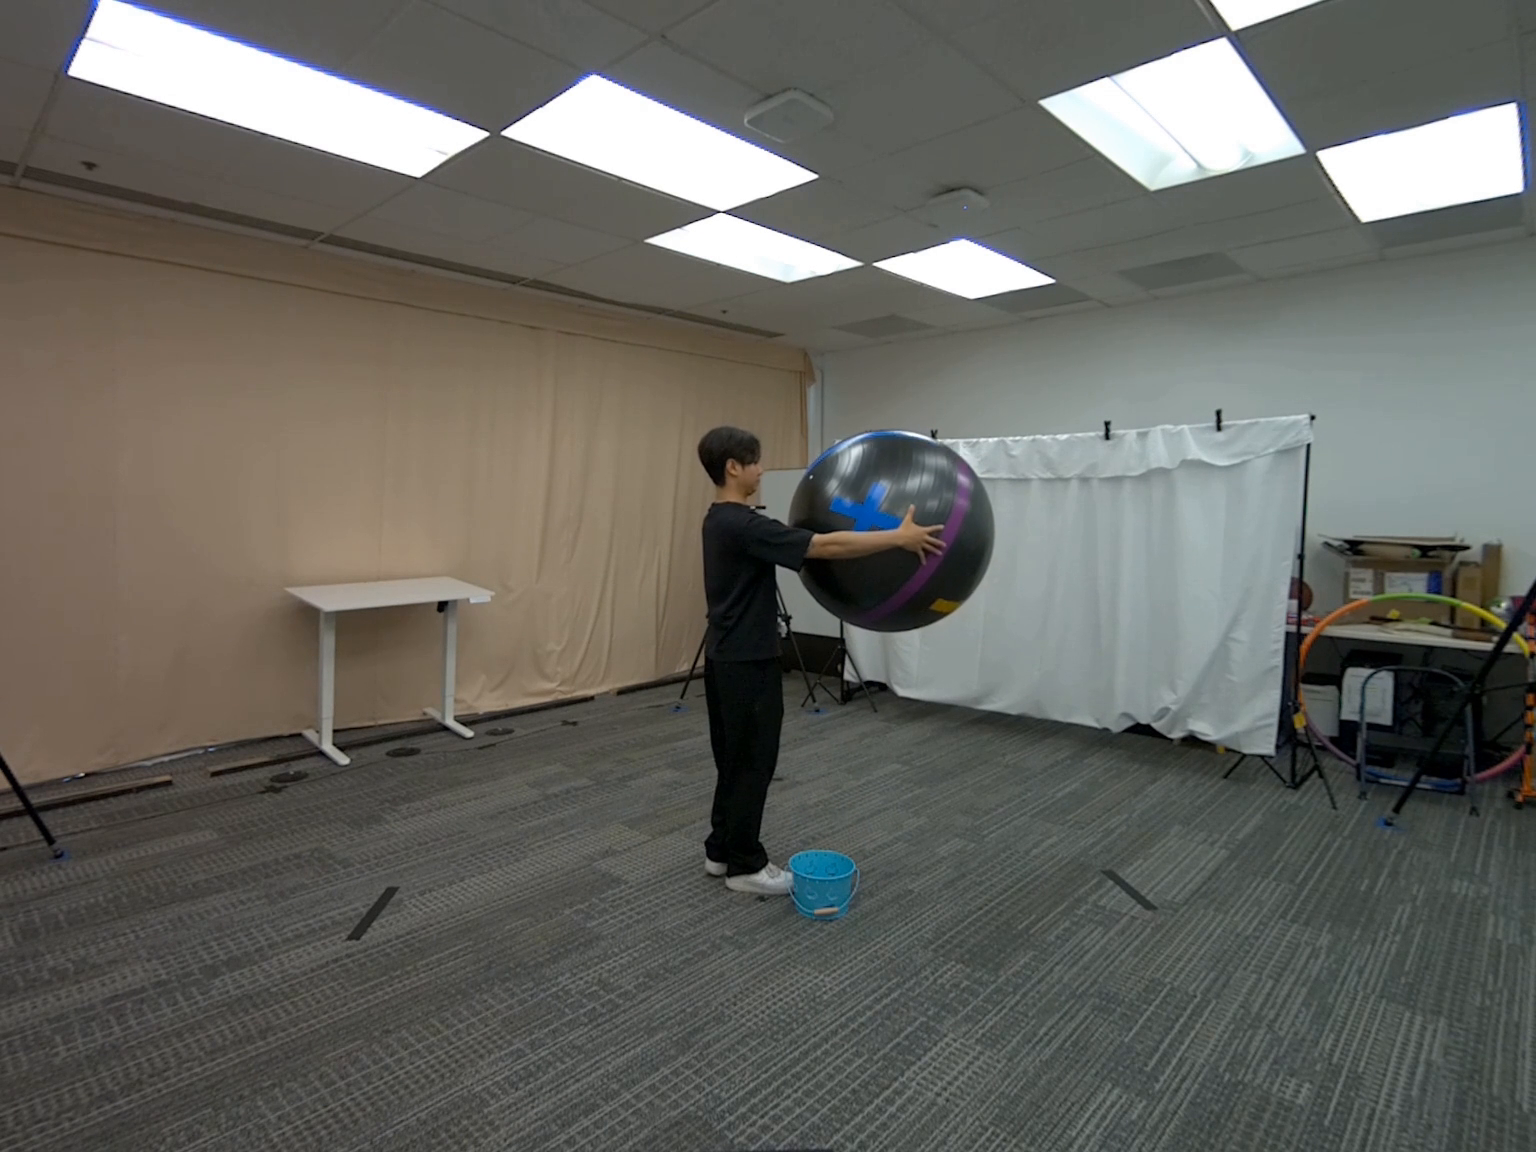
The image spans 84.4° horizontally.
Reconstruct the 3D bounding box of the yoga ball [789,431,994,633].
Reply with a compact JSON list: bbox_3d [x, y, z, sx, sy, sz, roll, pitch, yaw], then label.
[{"bbox_3d":[0.460,-0.157,3.174,0.757,0.756,0.761,0,4,-2],"label":"yoga ball"}]
